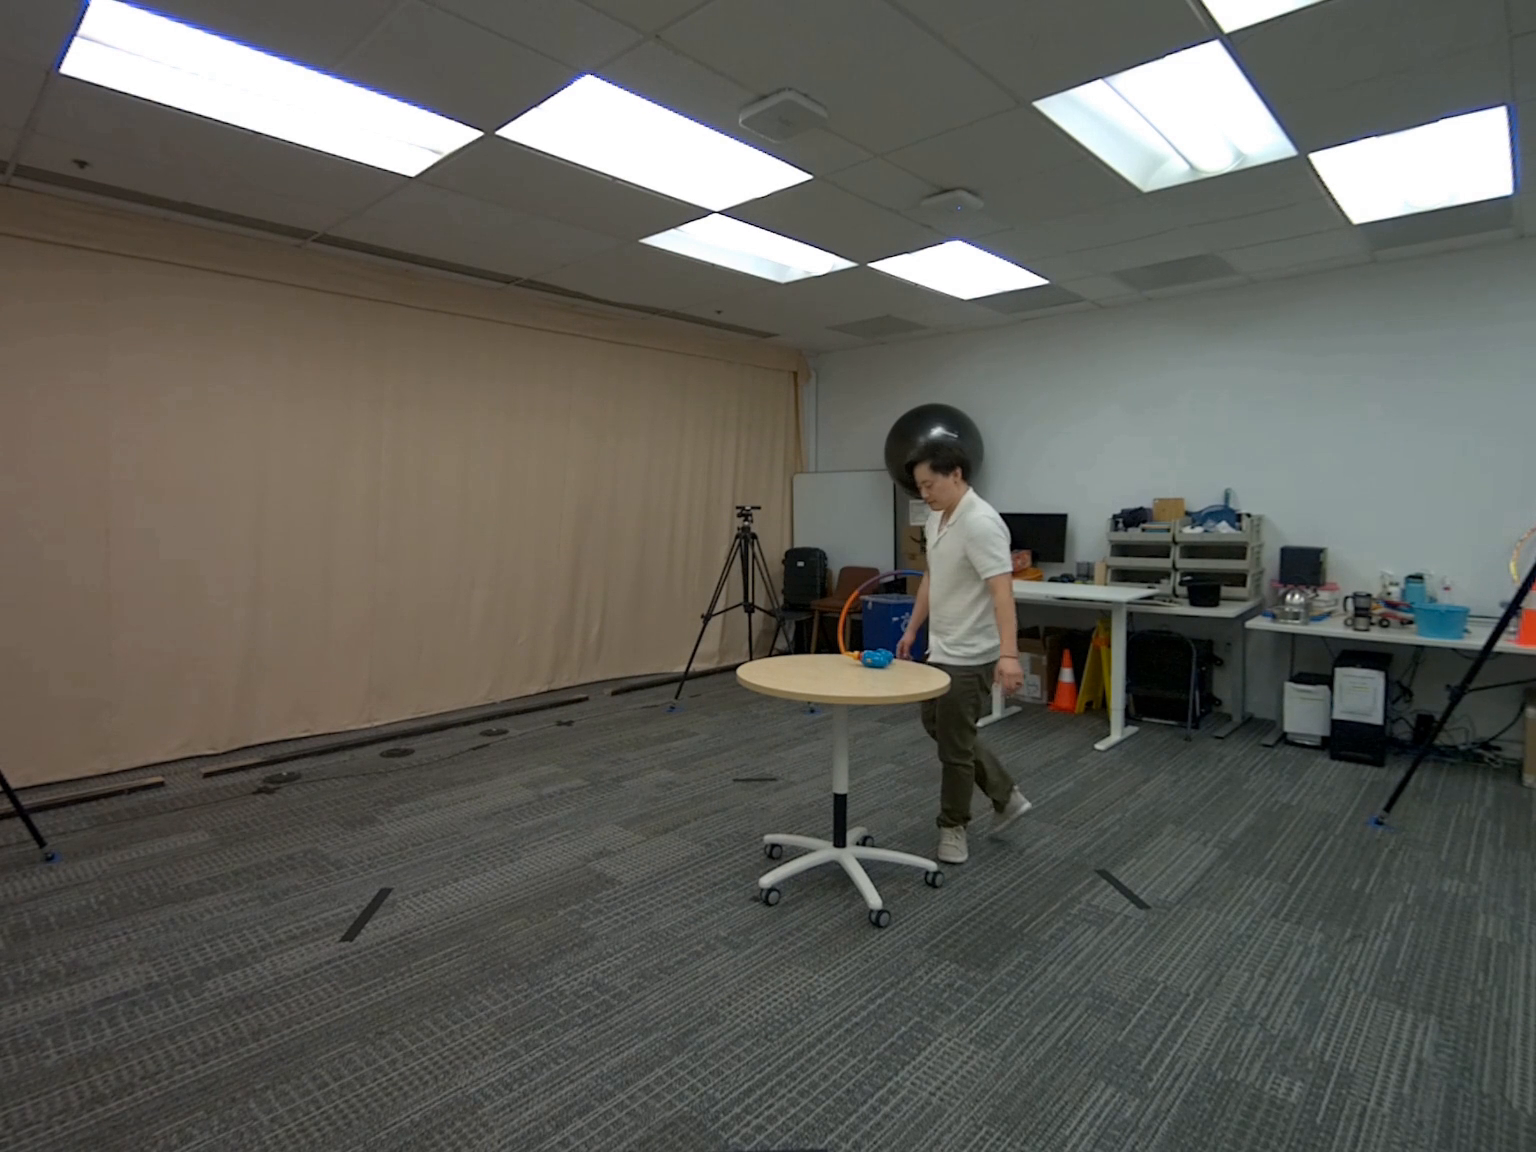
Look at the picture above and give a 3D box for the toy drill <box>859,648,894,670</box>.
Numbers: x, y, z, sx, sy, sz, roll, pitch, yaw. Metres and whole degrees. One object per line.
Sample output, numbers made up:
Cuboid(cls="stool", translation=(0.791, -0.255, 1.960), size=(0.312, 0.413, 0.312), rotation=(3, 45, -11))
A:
Cuboid(cls="toy drill", translation=(0.398, 0.310, 3.219), size=(0.174, 0.061, 0.142), rotation=(9, 6, 25))
